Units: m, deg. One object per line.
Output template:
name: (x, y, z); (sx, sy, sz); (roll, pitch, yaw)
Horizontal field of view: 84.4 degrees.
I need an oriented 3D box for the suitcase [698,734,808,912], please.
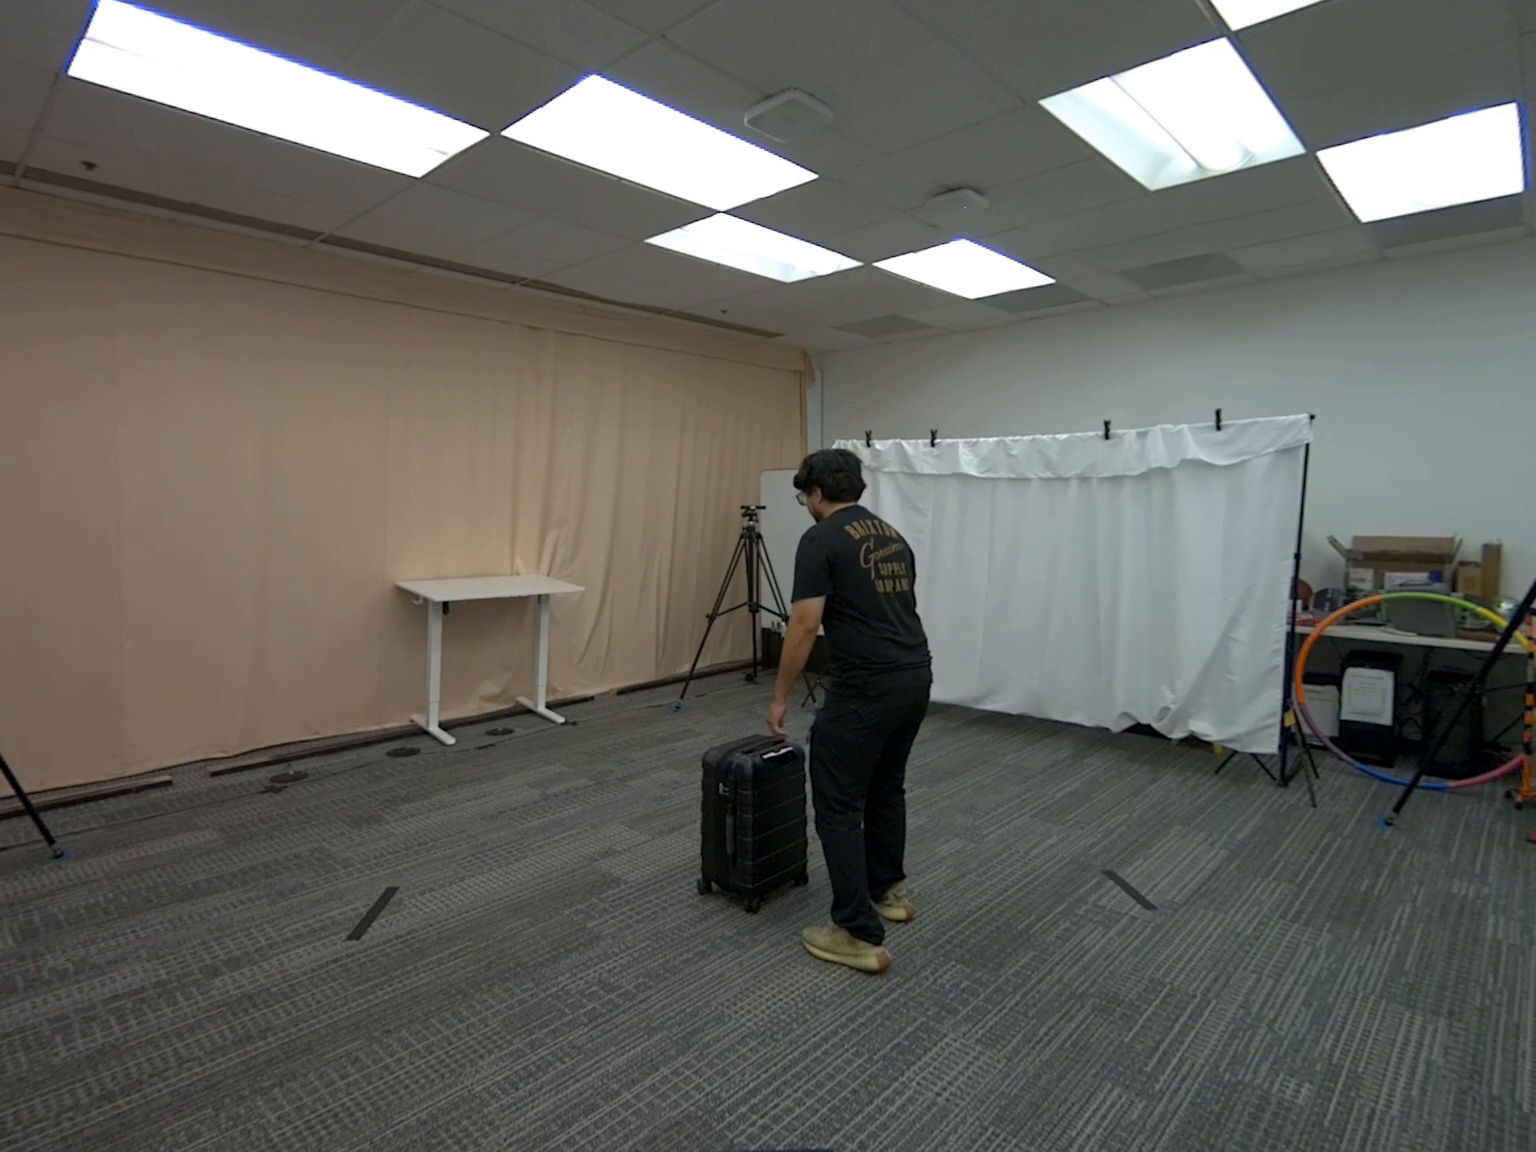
suitcase: (-0.051, 0.864, 3.035); (0.257, 0.548, 0.364); (4, 6, 42)
